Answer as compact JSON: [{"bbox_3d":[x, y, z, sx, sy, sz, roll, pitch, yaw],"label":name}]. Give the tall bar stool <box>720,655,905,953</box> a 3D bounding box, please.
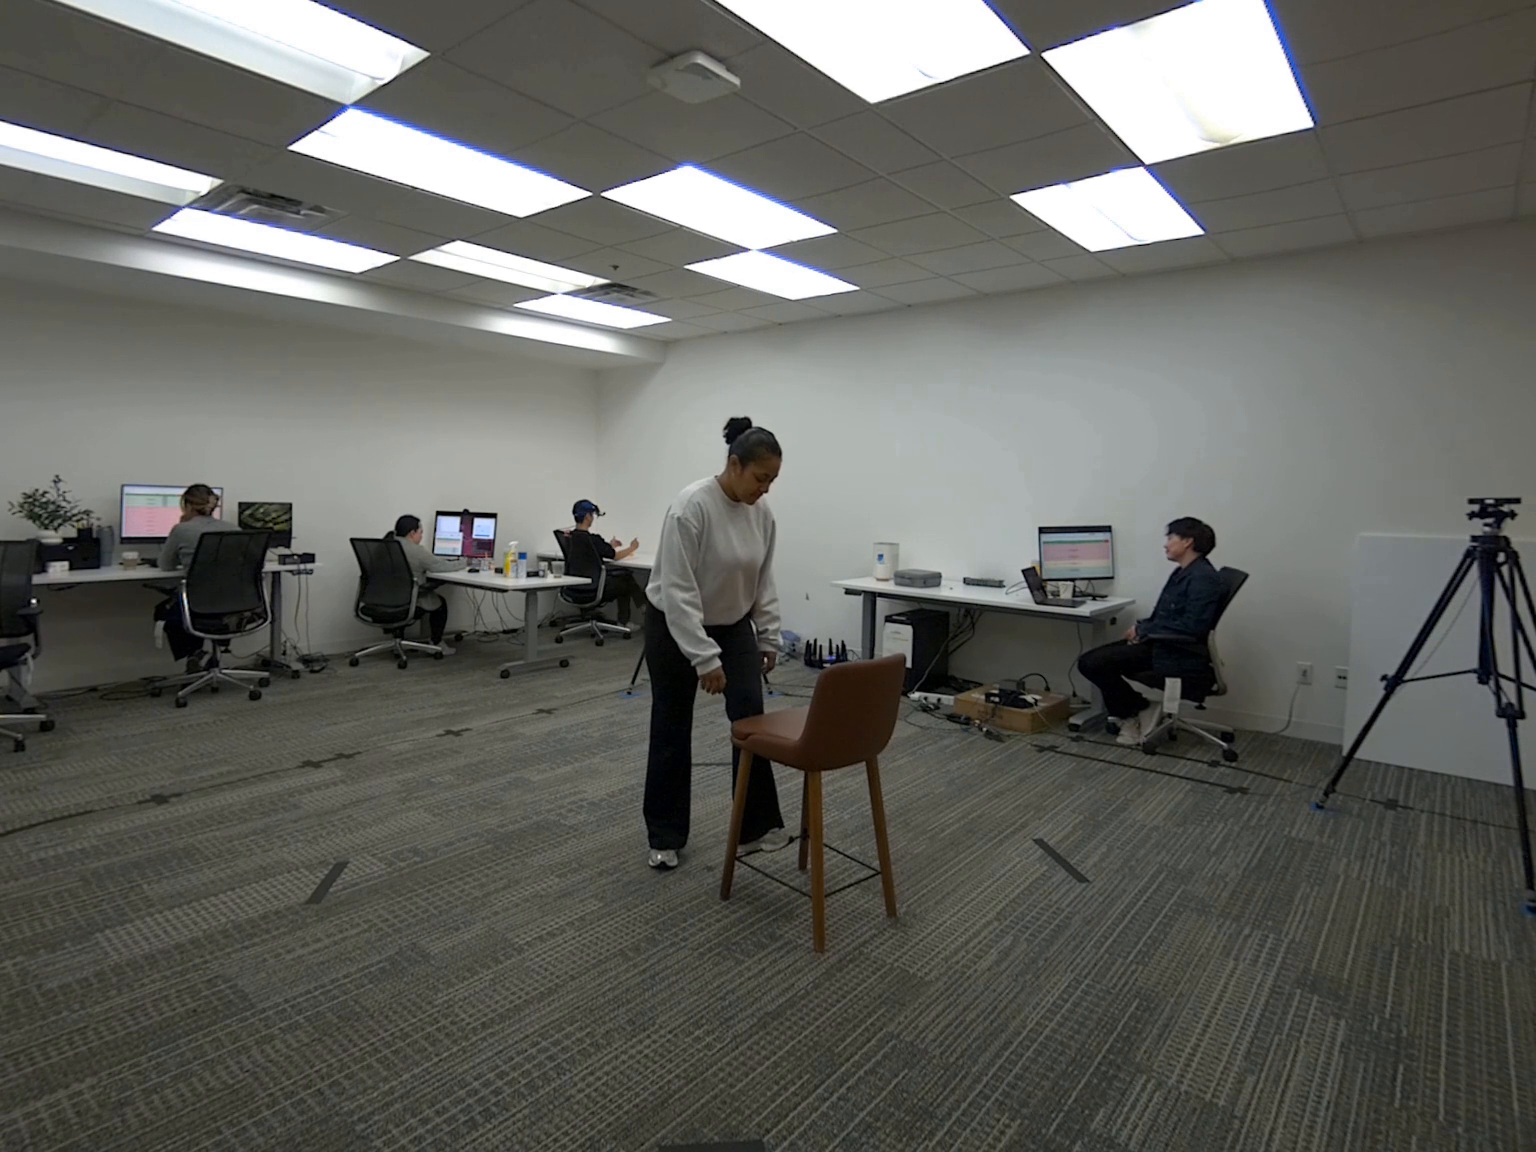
[{"bbox_3d":[0.147,0.665,2.818,0.442,0.887,0.484,-1,5,-42],"label":"tall bar stool"}]
